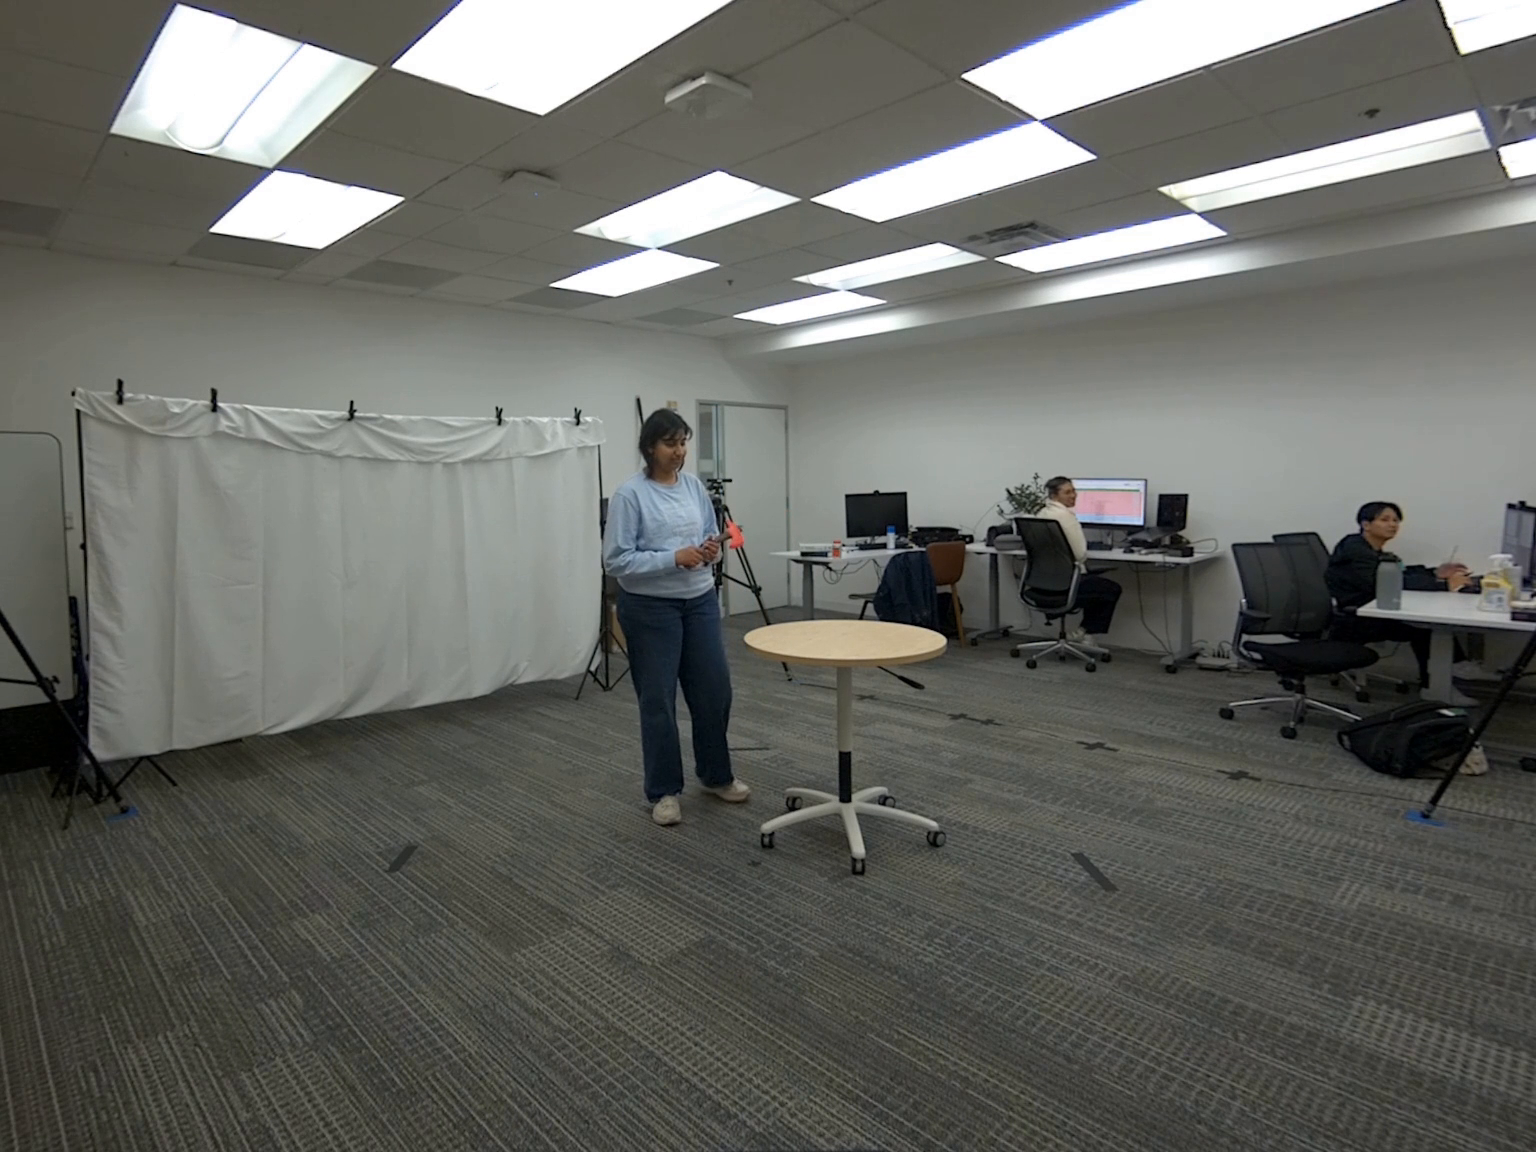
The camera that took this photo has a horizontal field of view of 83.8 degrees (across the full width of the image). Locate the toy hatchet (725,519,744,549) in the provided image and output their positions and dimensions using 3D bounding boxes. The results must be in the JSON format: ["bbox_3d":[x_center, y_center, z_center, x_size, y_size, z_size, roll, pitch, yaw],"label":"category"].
[{"bbox_3d":[-0.203,-0.105,3.363,0.135,0.270,0.029,40,-13,22],"label":"toy hatchet"}]
